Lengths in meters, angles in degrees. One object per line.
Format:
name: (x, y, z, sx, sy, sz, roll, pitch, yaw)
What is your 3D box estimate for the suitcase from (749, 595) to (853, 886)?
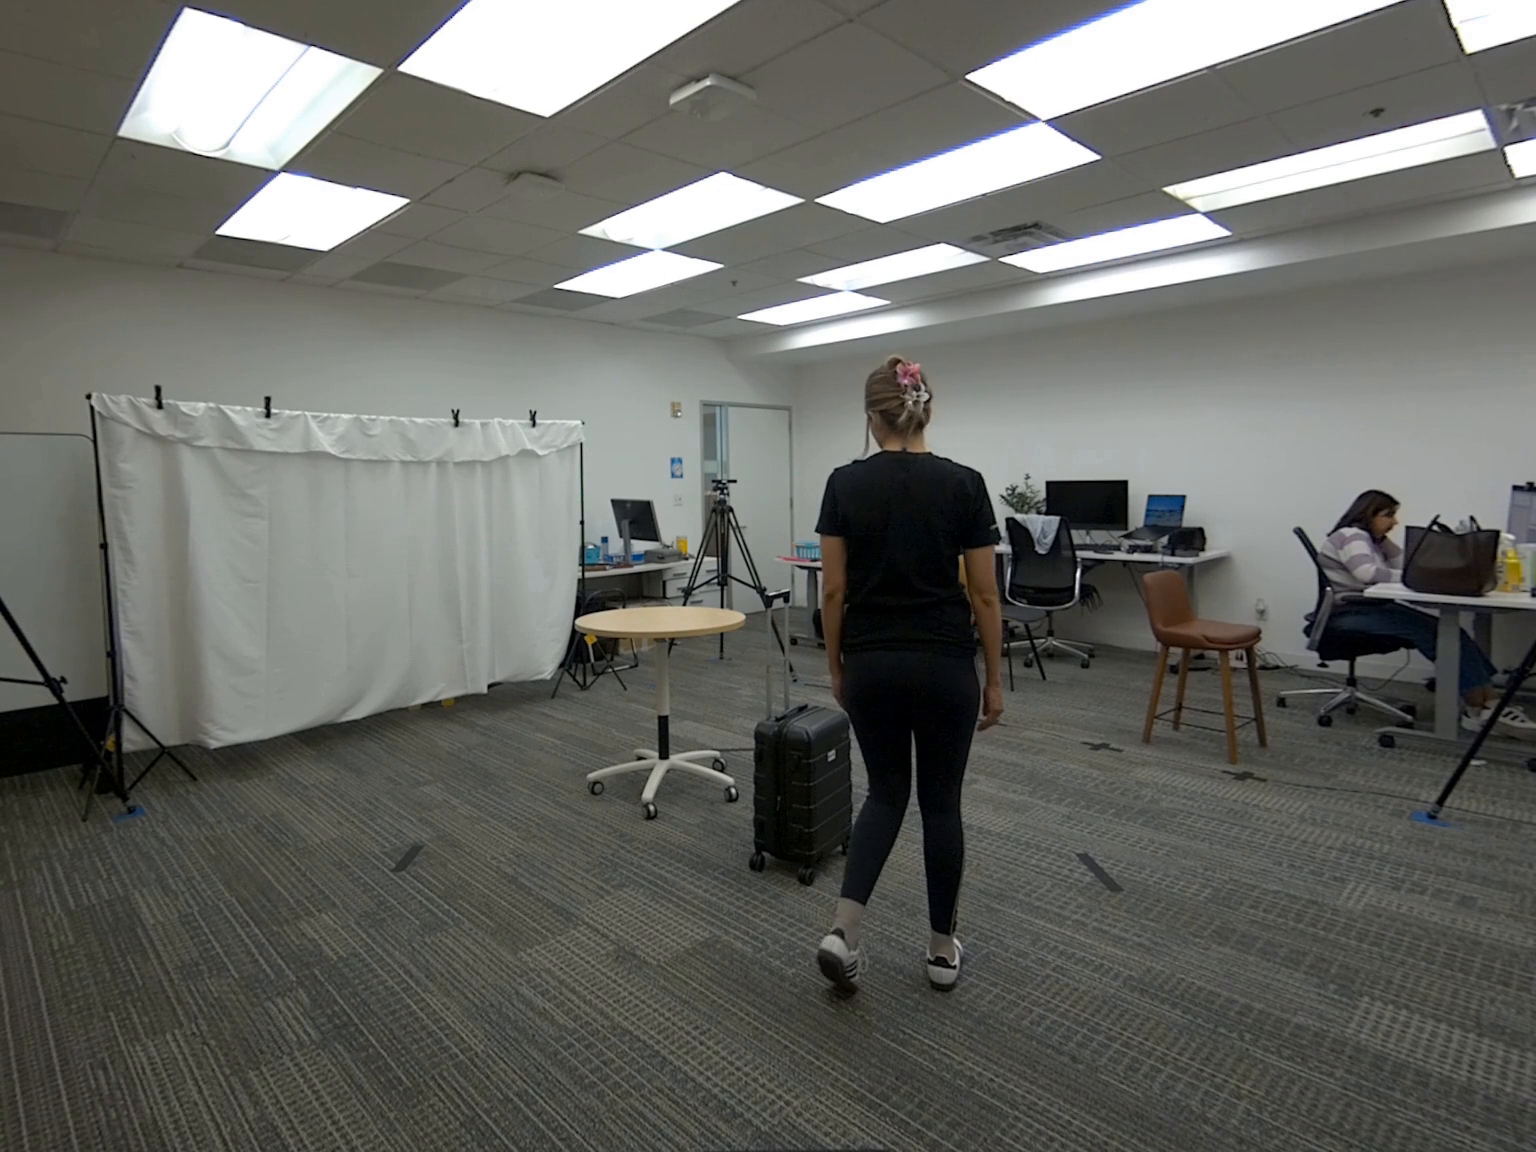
suitcase: (0.137, 0.565, 3.118, 0.264, 0.976, 0.374, 3, 4, 32)
